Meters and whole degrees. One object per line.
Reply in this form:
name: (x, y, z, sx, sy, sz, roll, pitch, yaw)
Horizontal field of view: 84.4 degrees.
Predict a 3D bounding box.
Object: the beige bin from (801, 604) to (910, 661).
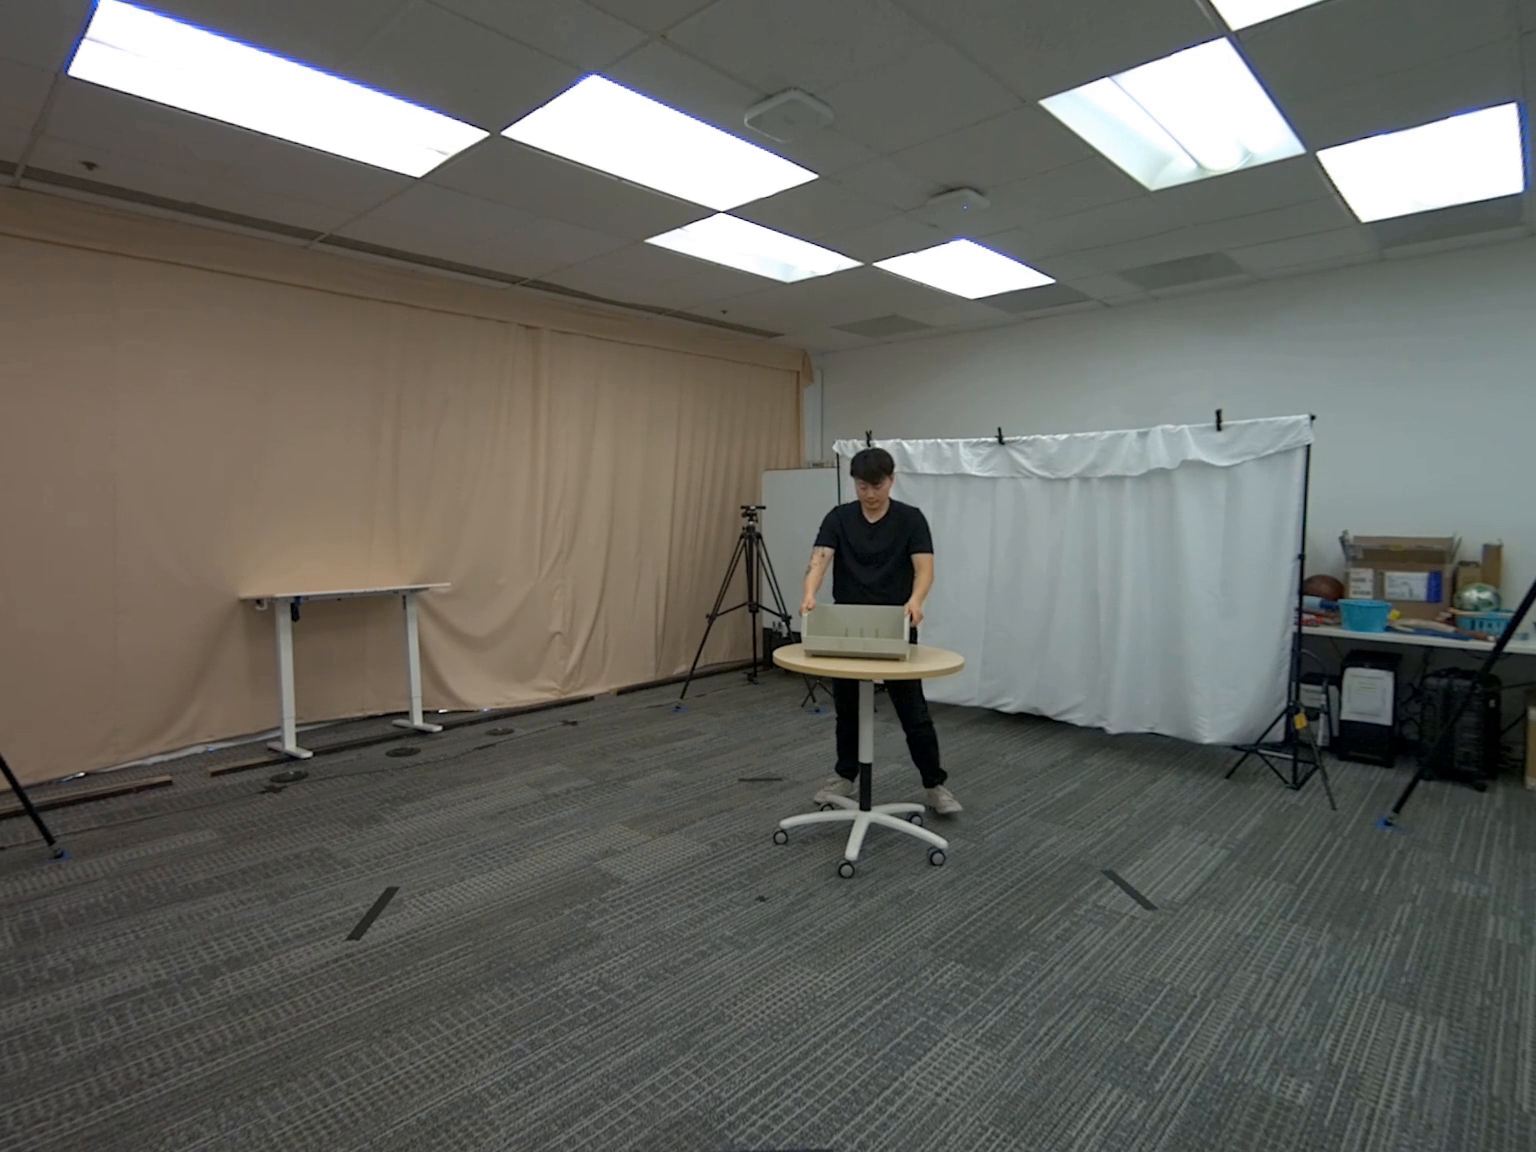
beige bin: (0.375, 0.231, 3.478, 0.428, 0.189, 0.373, 0, 3, 12)
